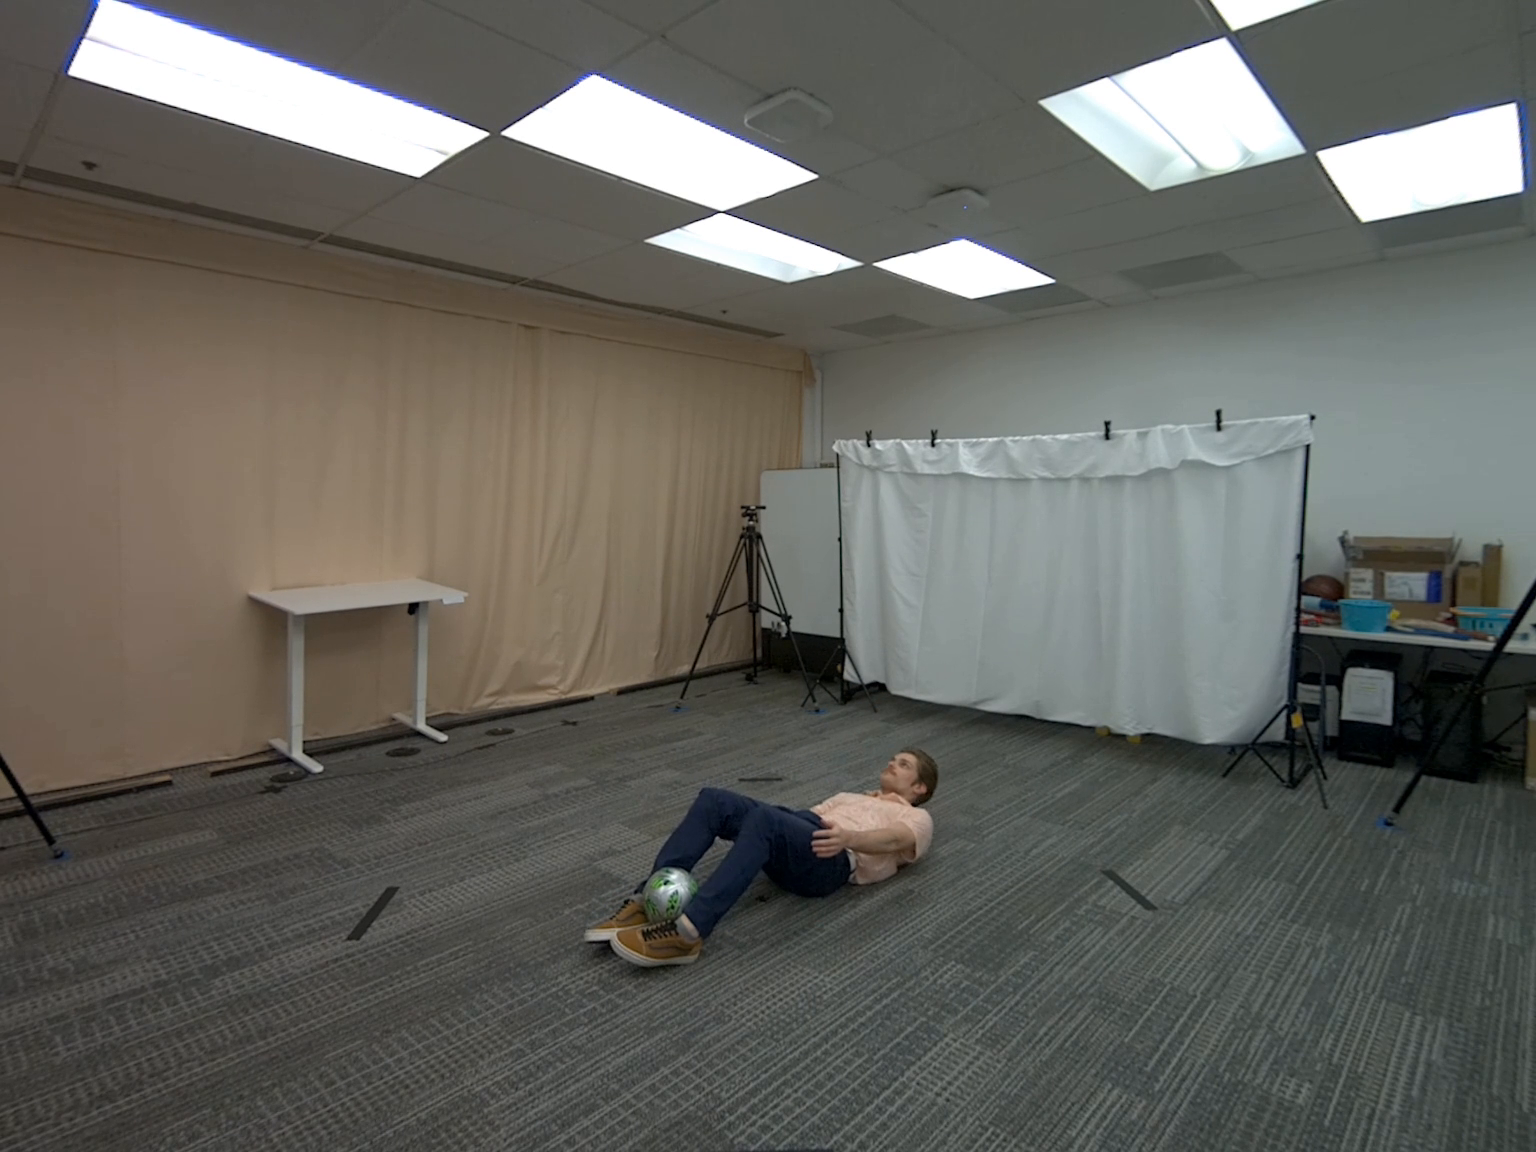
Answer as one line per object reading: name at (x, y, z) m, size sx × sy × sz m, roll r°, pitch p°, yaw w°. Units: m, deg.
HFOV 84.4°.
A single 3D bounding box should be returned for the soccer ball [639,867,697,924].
soccer ball at (-0.304, 1.022, 2.683) m, size 0.187 × 0.187 × 0.188 m, roll 0°, pitch 4°, yaw -2°
